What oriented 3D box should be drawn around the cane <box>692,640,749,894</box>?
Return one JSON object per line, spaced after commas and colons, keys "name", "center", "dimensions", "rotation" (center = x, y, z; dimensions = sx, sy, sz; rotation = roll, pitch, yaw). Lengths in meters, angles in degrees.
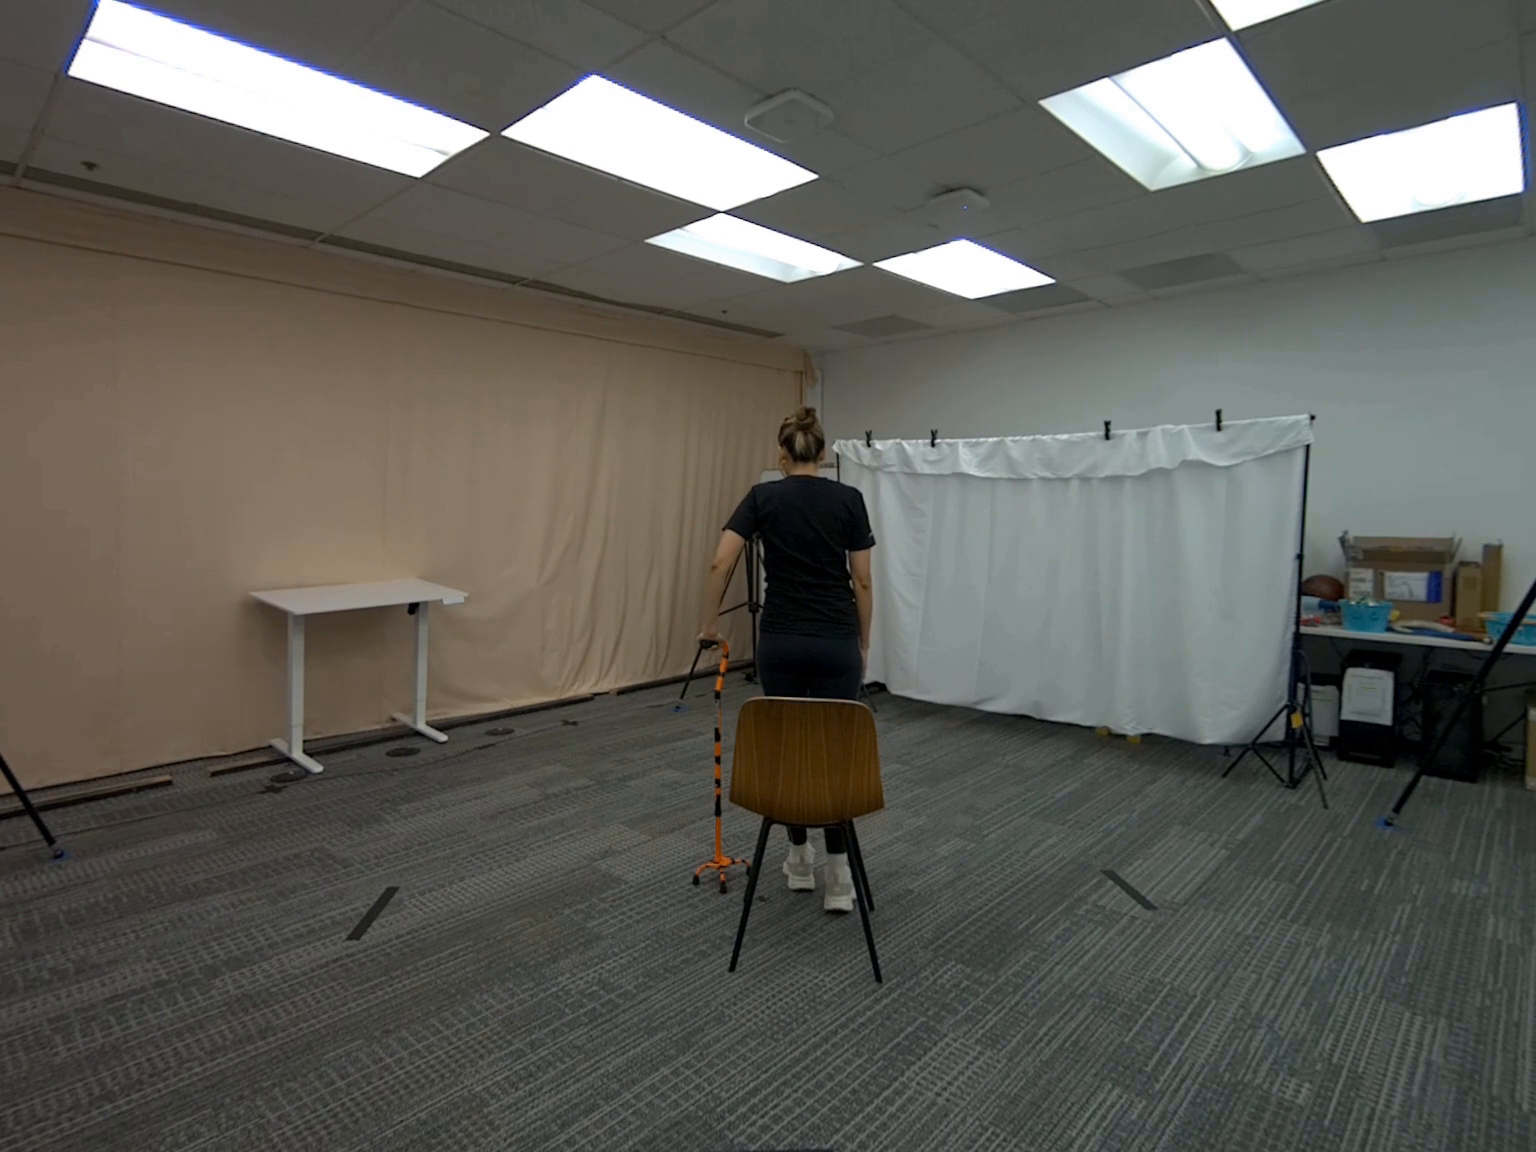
{"name": "cane", "center": [-0.173, 0.688, 3.122], "dimensions": [0.156, 0.906, 0.201], "rotation": [2, 4, 33]}
